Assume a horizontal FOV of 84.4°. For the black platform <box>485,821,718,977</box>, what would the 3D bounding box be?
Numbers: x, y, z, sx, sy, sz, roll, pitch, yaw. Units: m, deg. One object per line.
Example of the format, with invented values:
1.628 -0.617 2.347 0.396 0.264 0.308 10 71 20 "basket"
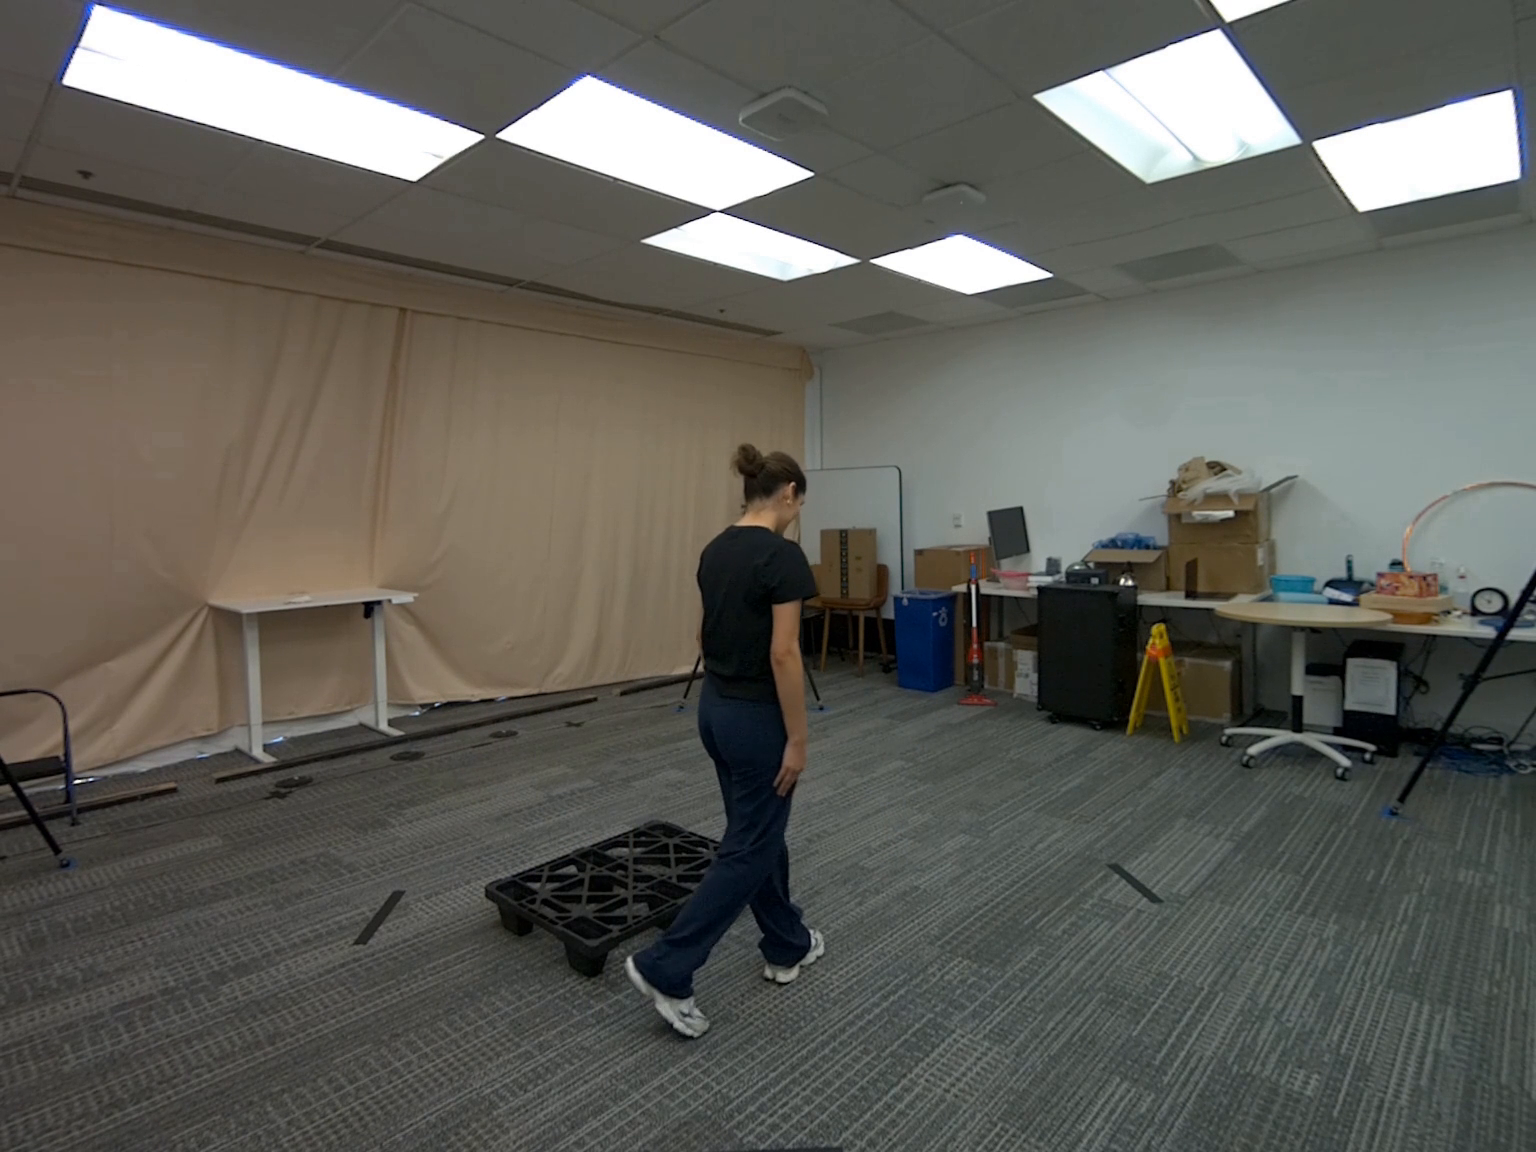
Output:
-0.455 1.090 2.915 0.625 0.143 0.782 4 7 42 "black platform"
